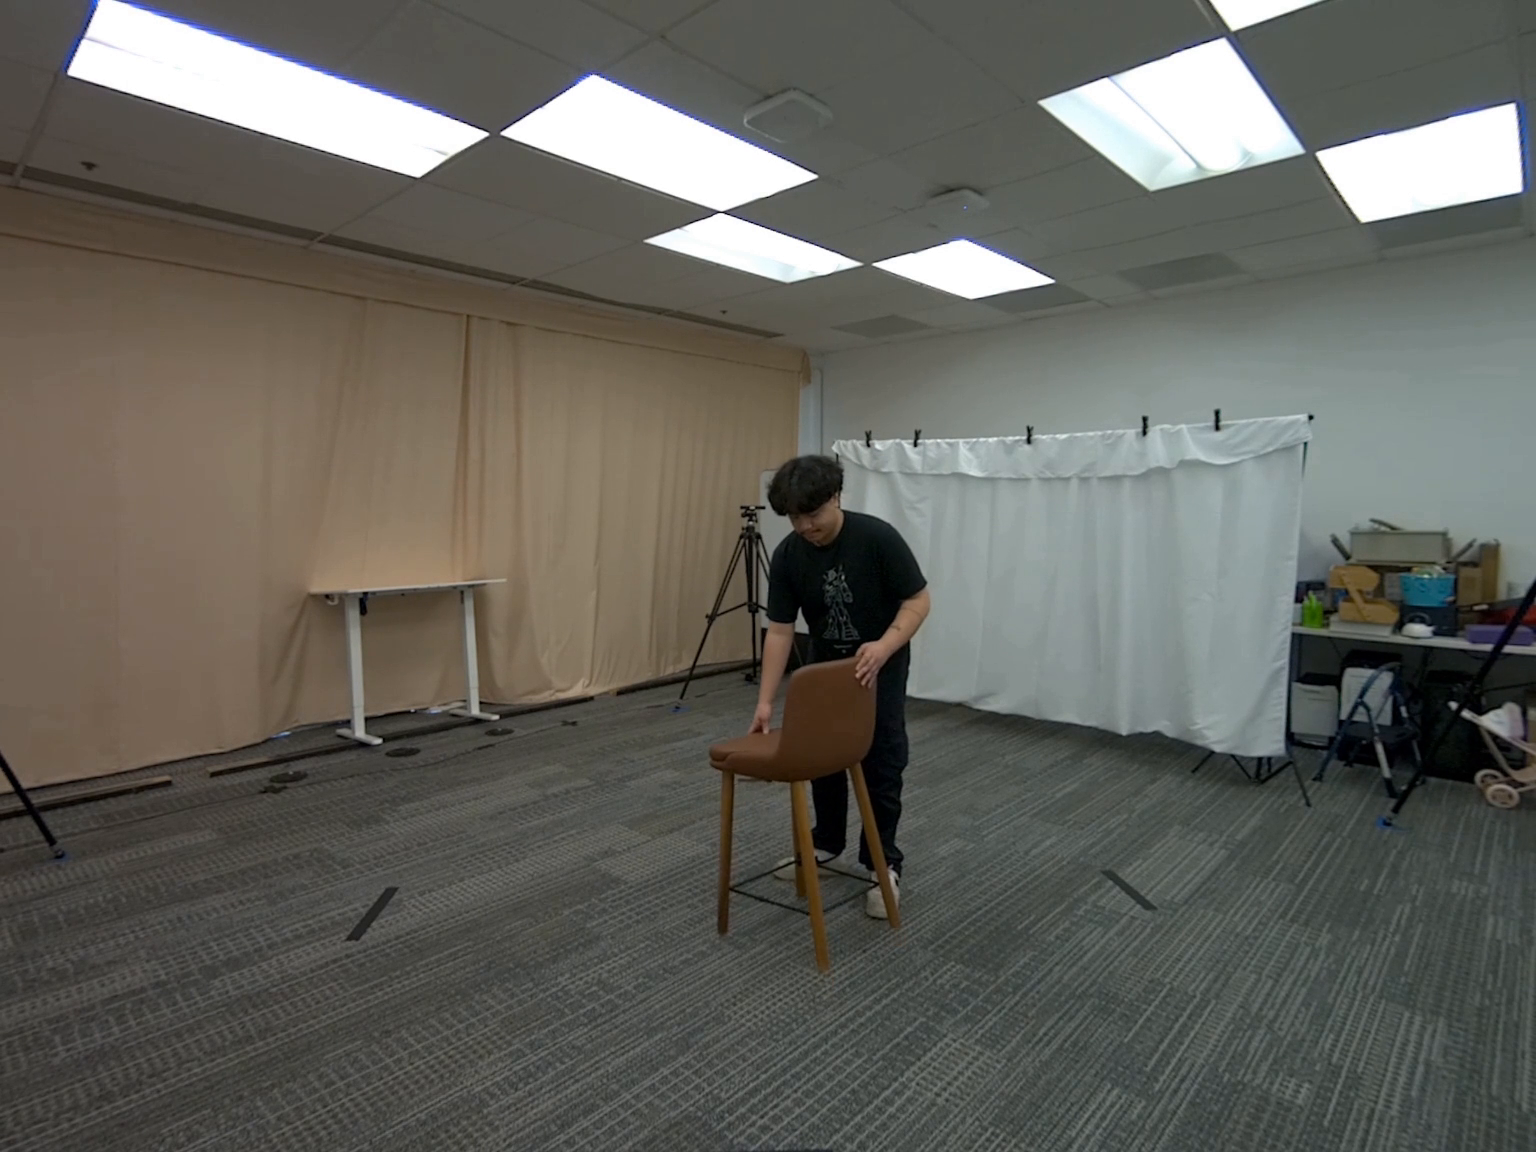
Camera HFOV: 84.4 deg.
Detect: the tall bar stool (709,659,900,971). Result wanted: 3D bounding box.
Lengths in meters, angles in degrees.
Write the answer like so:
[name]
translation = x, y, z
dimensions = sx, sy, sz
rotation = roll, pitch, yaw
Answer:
[tall bar stool]
translation = 0.101, 0.707, 2.719
dimensions = 0.442, 0.890, 0.482
rotation = -4, 0, -42
